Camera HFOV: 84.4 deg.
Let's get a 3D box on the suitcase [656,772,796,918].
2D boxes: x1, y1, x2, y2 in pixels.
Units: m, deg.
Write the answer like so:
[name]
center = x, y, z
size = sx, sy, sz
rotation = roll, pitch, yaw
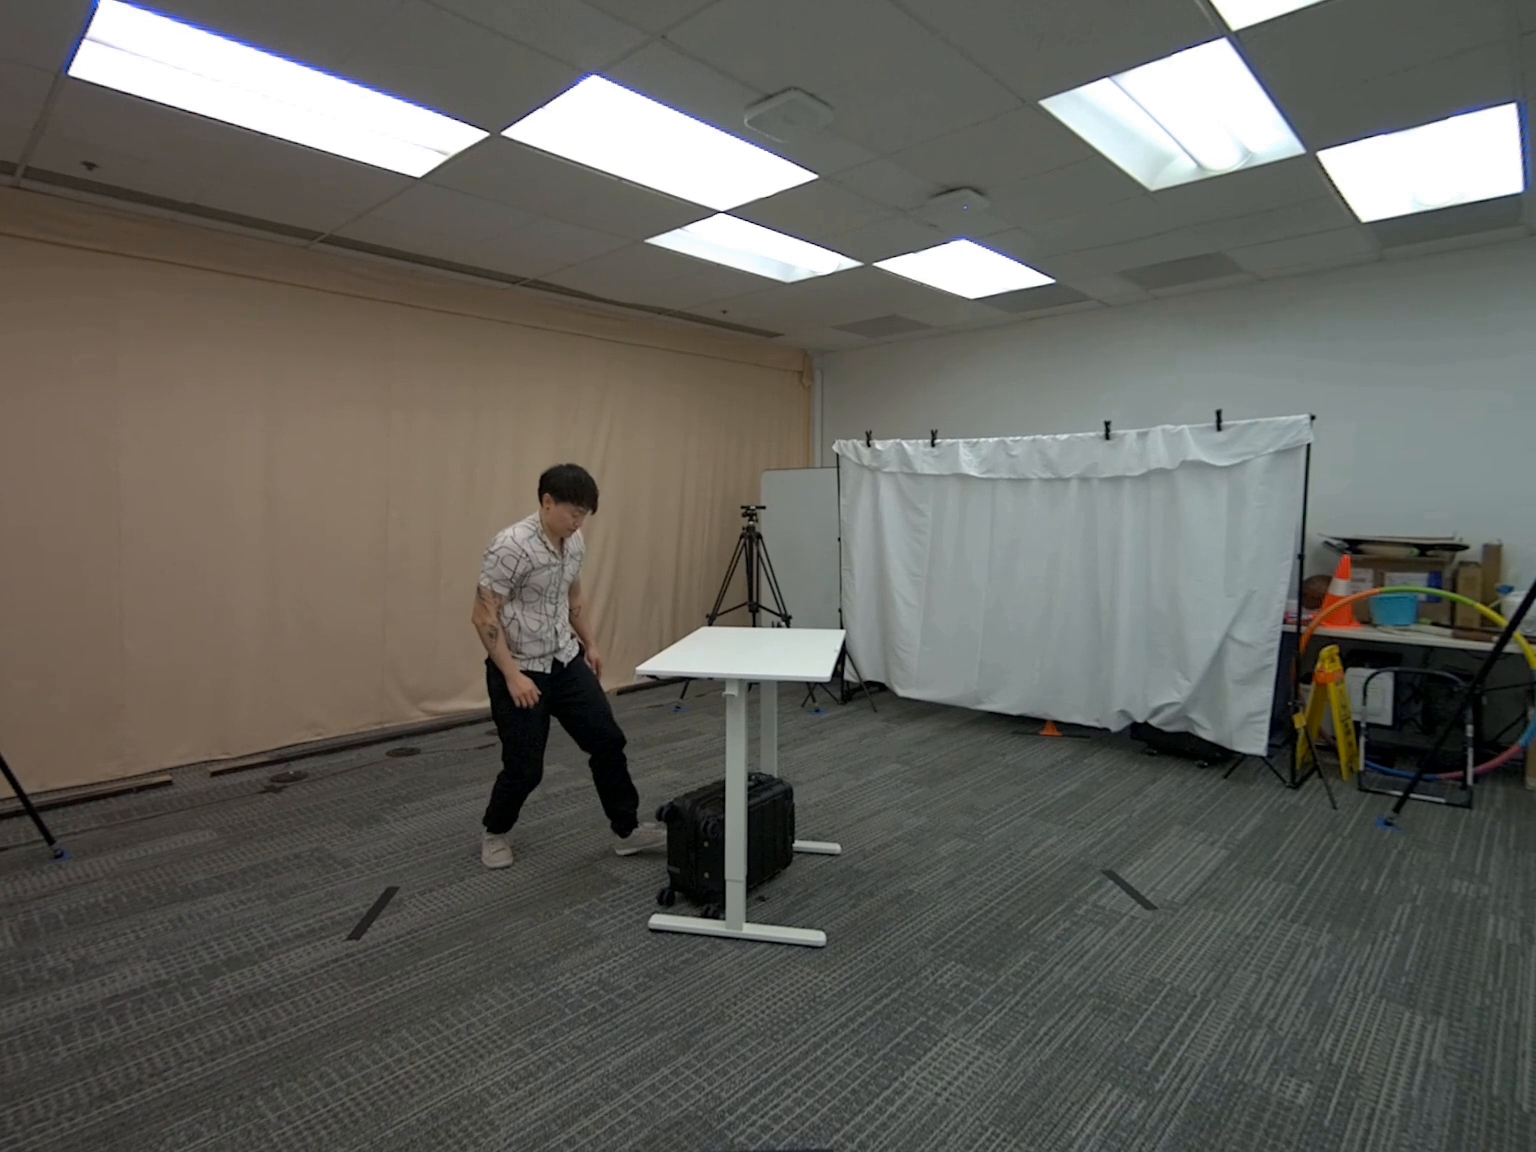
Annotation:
[suitcase]
center = -0.133, 0.939, 3.069
size = 0.256, 0.374, 0.533
rotation = 3, 5, 36
